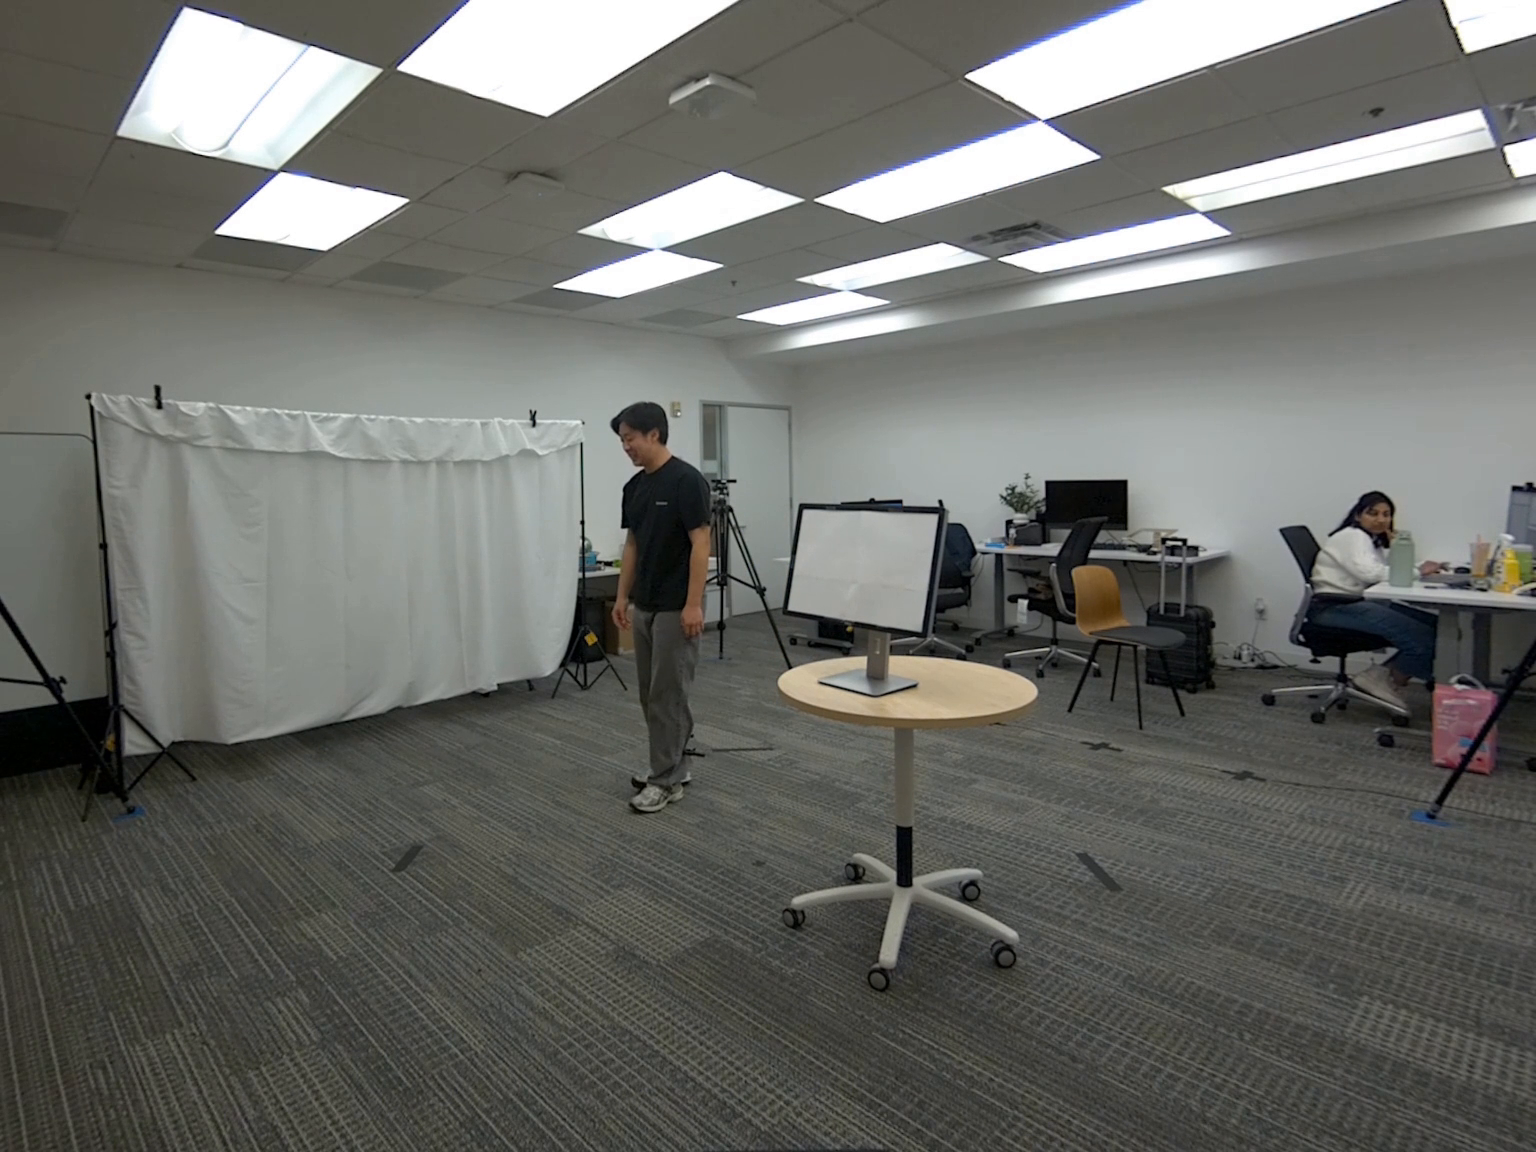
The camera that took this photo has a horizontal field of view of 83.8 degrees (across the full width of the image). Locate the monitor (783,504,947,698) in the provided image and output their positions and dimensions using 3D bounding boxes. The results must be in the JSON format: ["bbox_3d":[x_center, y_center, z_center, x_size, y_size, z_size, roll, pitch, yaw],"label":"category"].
[{"bbox_3d":[0.320,0.061,2.574,0.204,0.554,0.583,4,0,-42],"label":"monitor"}]
